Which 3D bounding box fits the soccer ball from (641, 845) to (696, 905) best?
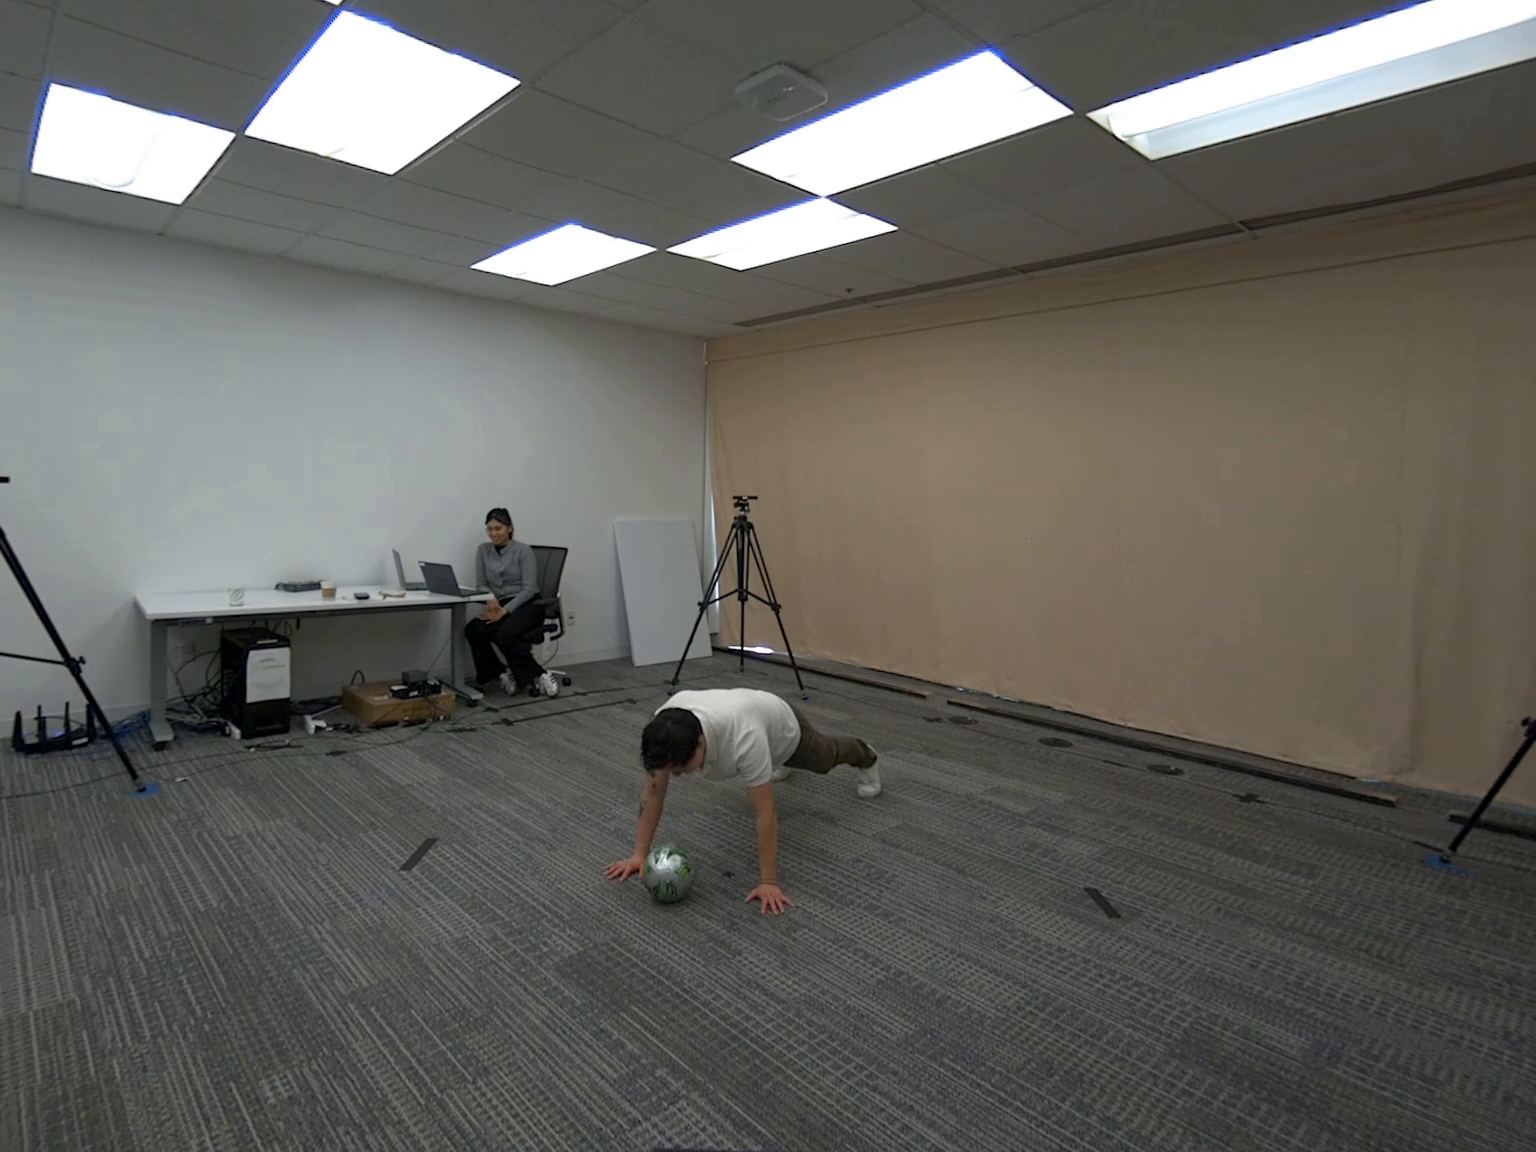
[{"bbox_3d":[-0.351,1.023,2.894,0.187,0.187,0.188,1,4,-1],"label":"soccer ball"}]
